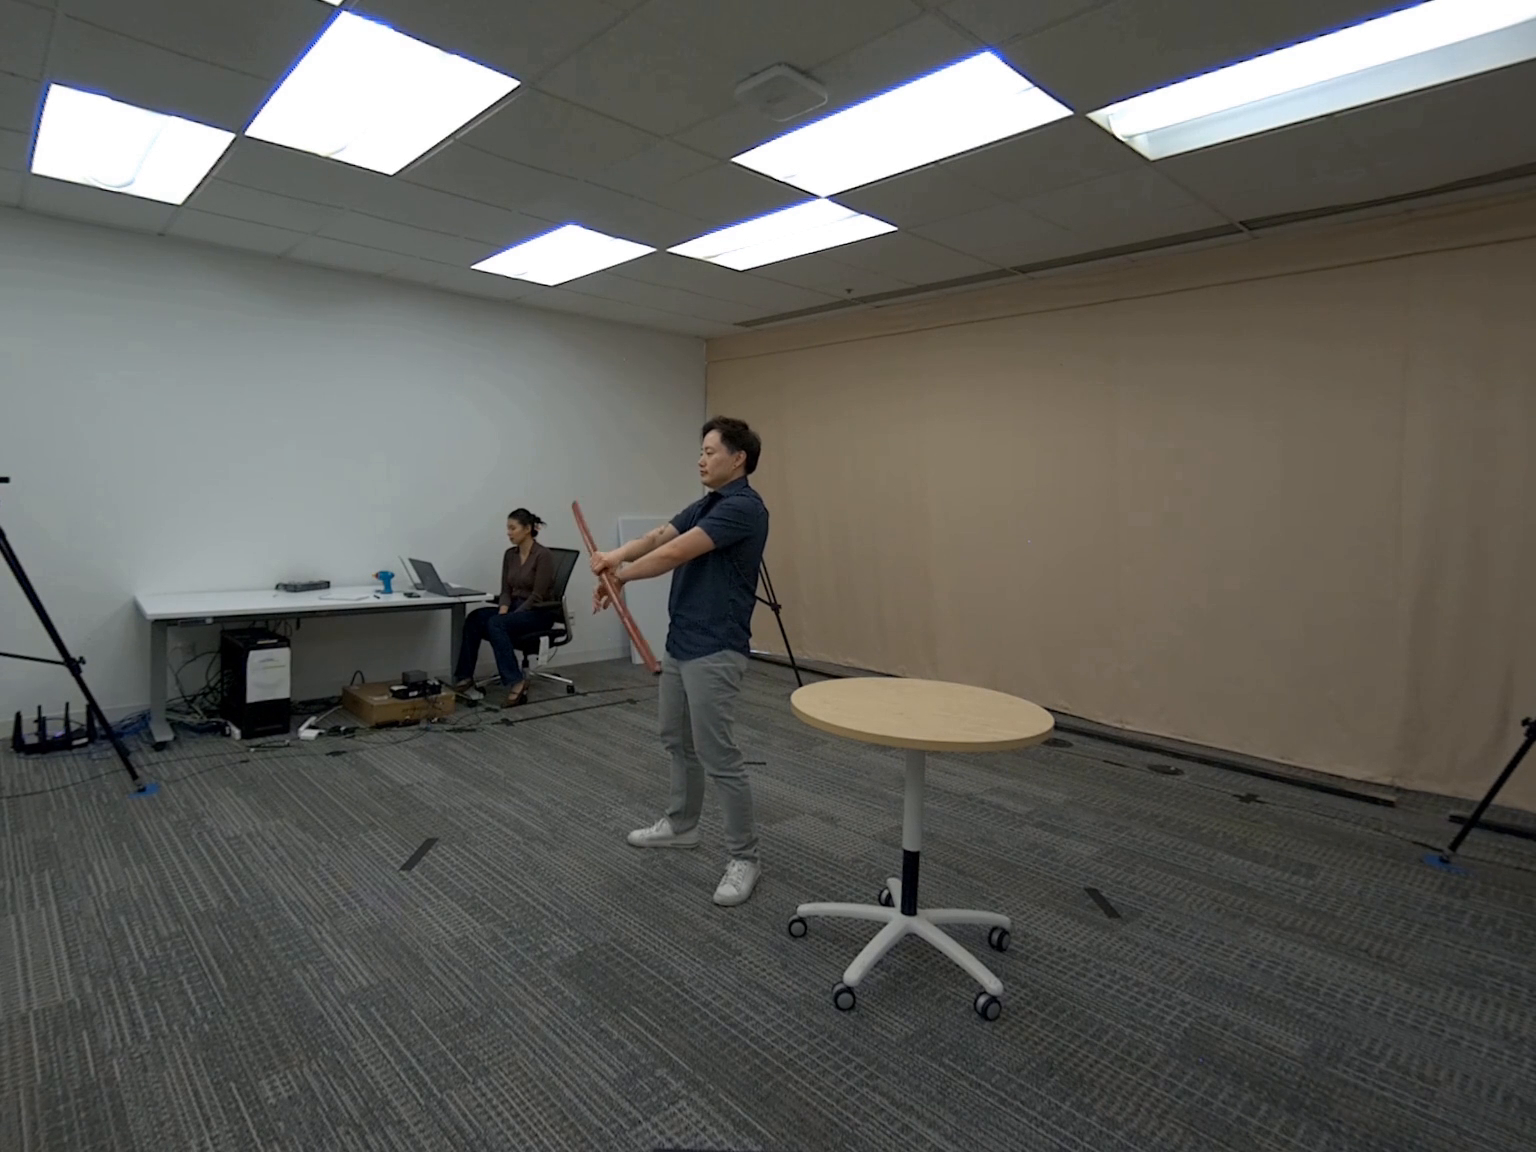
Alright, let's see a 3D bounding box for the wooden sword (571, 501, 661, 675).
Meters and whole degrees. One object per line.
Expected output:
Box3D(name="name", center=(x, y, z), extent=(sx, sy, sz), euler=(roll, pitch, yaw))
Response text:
Box3D(name="wooden sword", center=(-0.555, 0.018, 2.883), extent=(0.051, 0.023, 1.057), euler=(-15, 40, -18))
